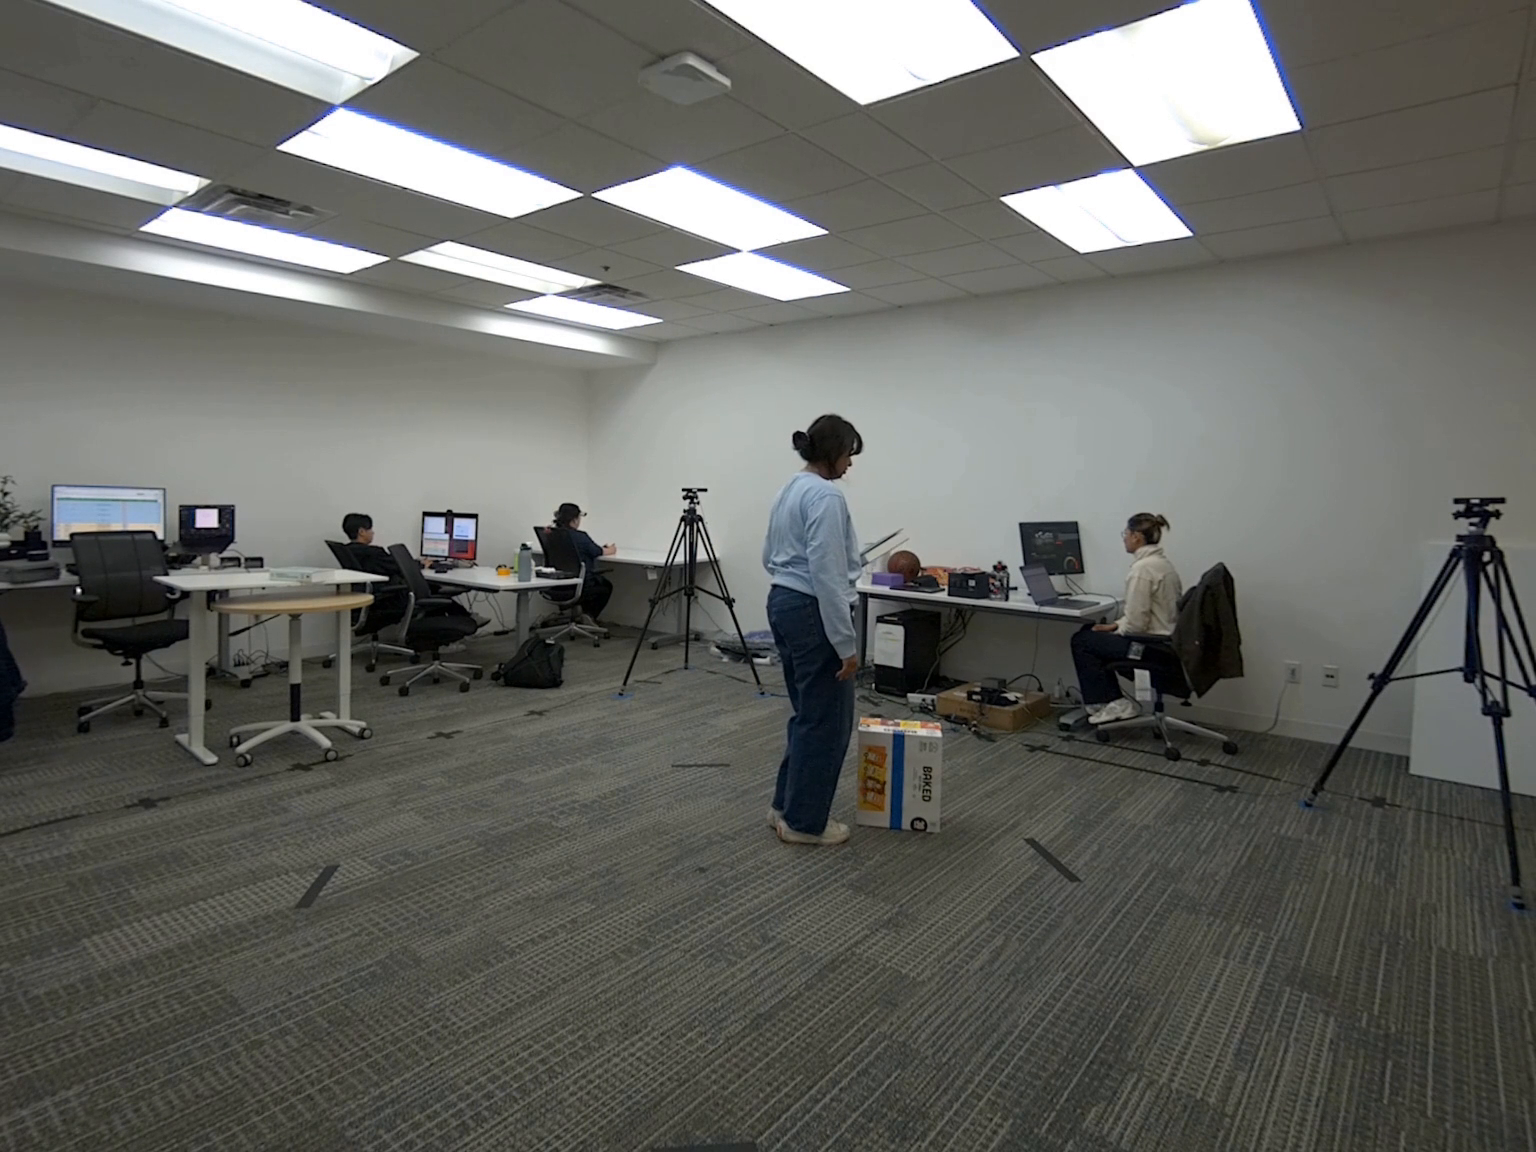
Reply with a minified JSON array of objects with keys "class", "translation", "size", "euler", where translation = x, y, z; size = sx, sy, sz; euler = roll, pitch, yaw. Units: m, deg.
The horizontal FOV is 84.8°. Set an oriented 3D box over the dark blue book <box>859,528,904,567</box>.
[{"class":"dark blue book","translation":[0.442,-0.103,3.484],"size":[0.242,0.045,0.165],"euler":[-31,2,-29]}]
